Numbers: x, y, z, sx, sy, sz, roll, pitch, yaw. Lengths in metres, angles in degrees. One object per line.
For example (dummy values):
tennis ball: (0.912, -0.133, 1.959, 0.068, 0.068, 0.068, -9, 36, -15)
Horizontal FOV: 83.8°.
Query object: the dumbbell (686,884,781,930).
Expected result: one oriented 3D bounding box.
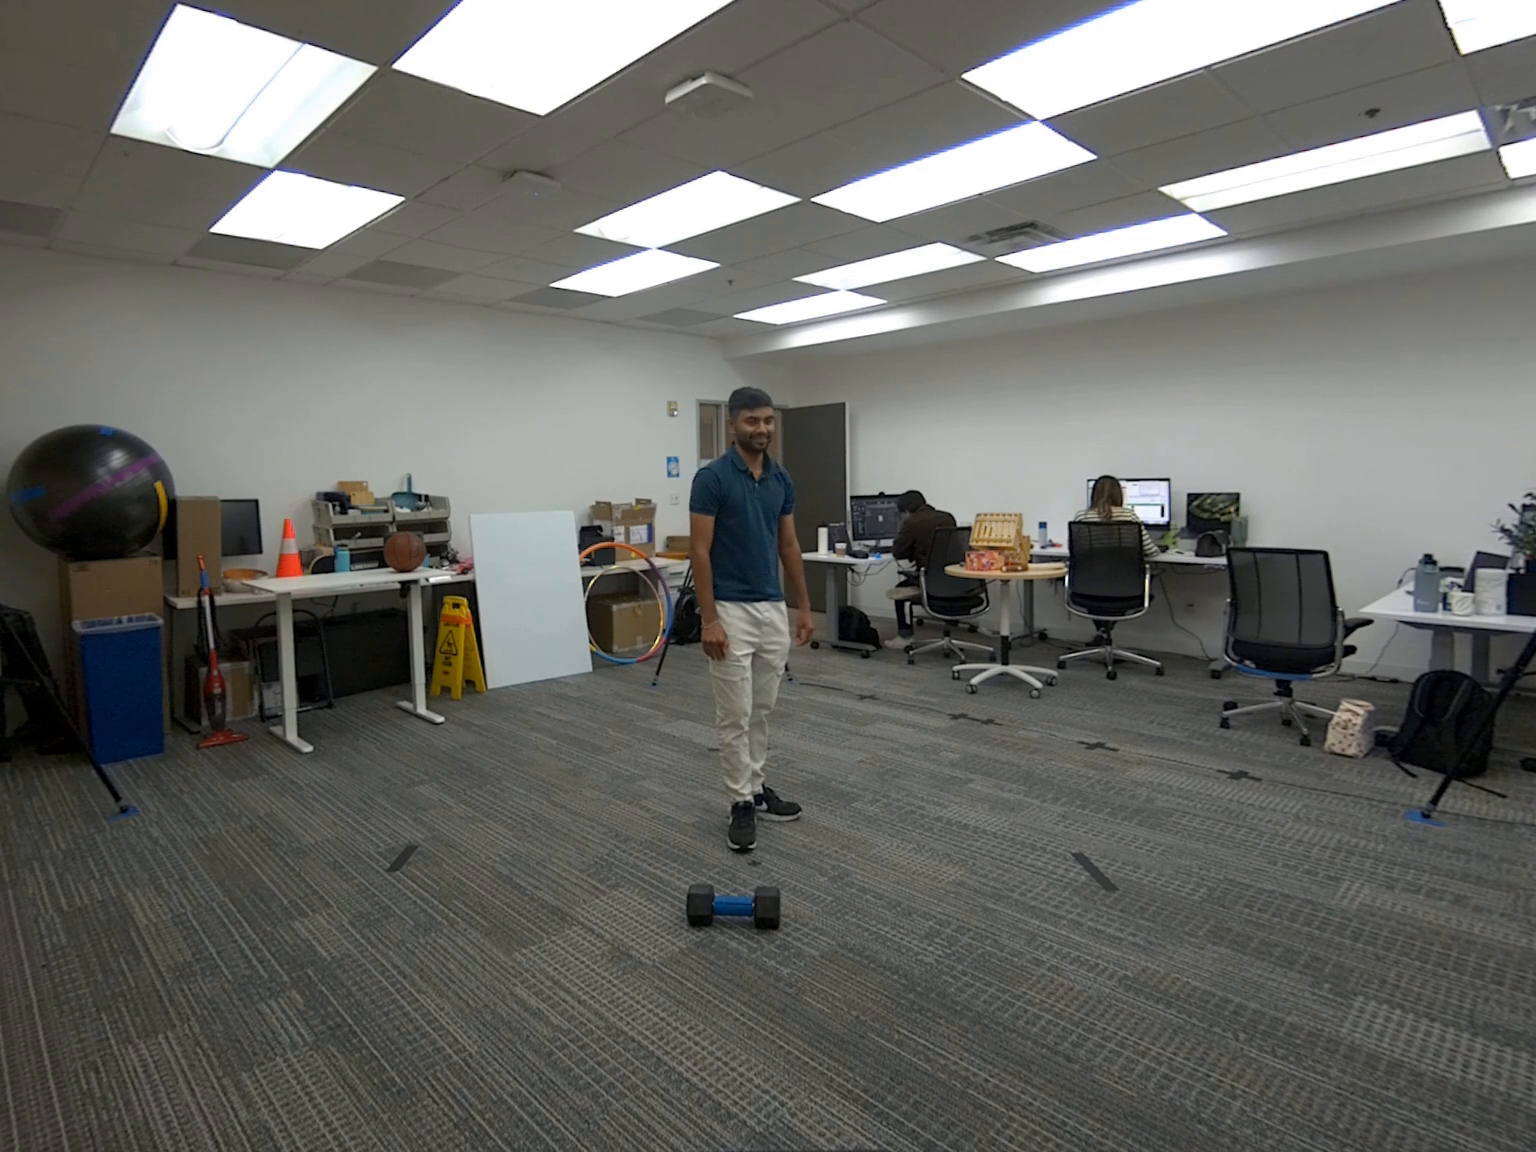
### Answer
dumbbell: (-0.106, 1.042, 2.692, 0.295, 0.119, 0.111, 0, 36, 5)
